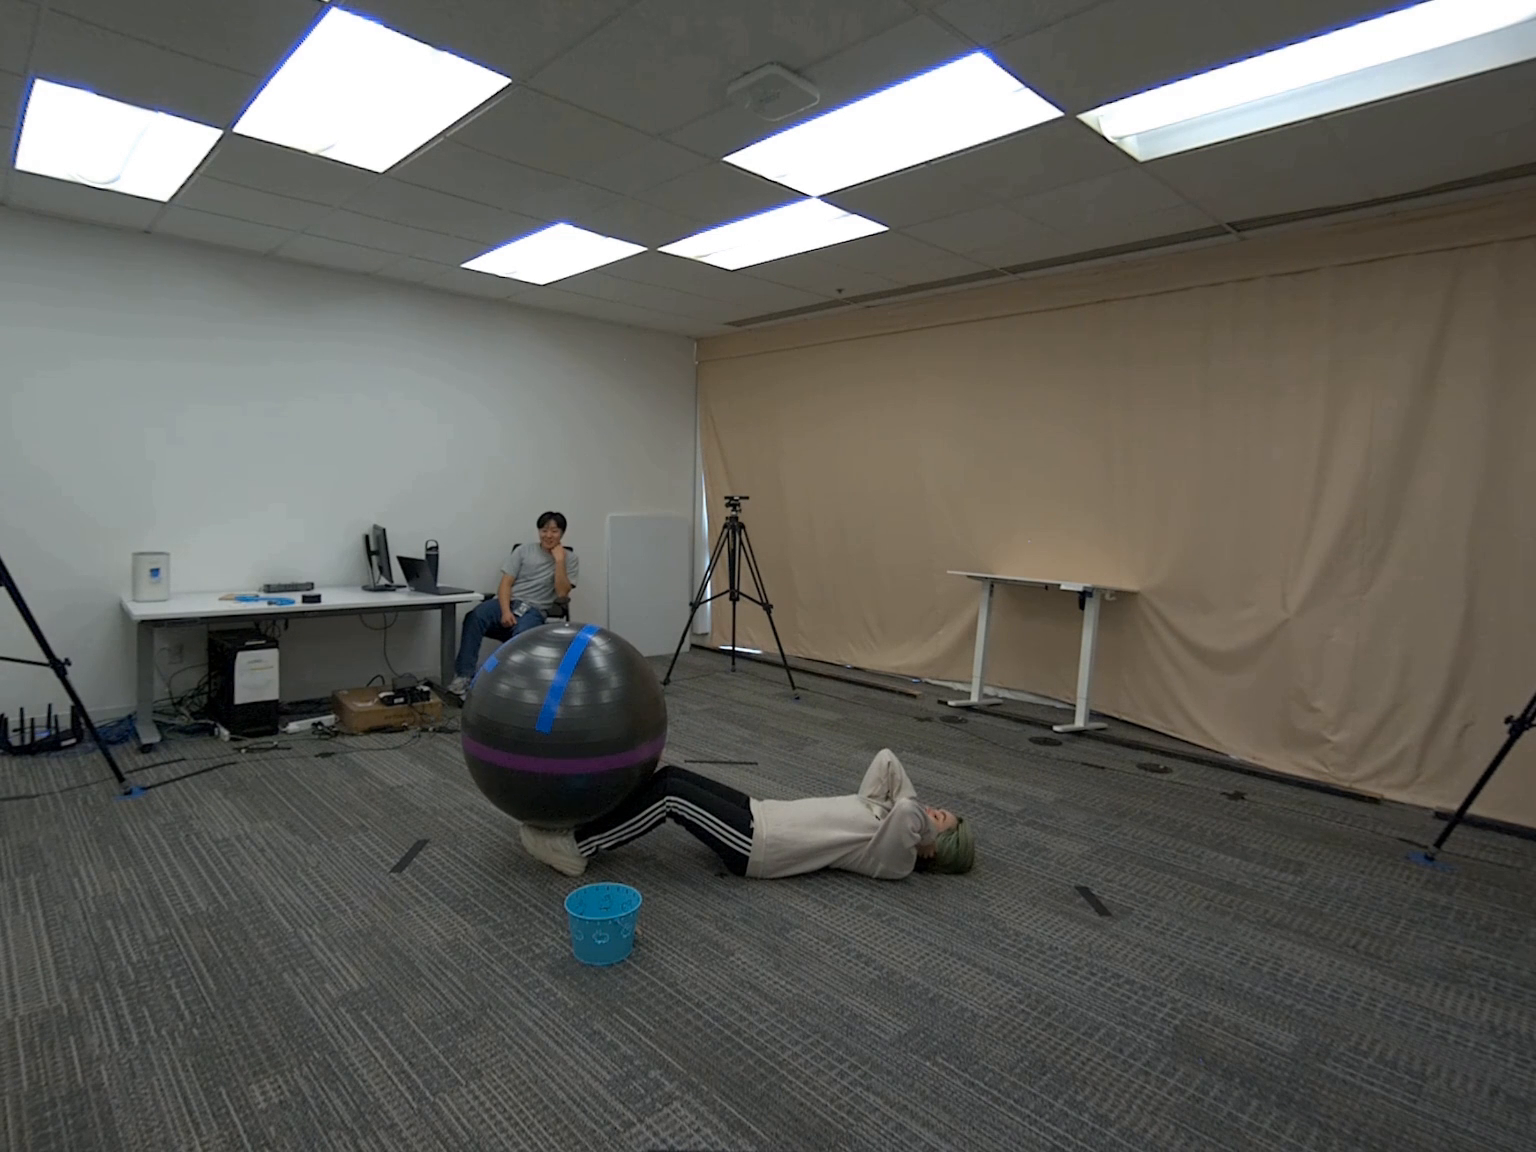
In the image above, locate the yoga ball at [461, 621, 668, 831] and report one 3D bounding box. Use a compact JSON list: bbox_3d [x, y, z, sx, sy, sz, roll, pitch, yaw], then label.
[{"bbox_3d":[-0.767,0.555,3.163,0.757,0.756,0.761,1,4,-1],"label":"yoga ball"}]
